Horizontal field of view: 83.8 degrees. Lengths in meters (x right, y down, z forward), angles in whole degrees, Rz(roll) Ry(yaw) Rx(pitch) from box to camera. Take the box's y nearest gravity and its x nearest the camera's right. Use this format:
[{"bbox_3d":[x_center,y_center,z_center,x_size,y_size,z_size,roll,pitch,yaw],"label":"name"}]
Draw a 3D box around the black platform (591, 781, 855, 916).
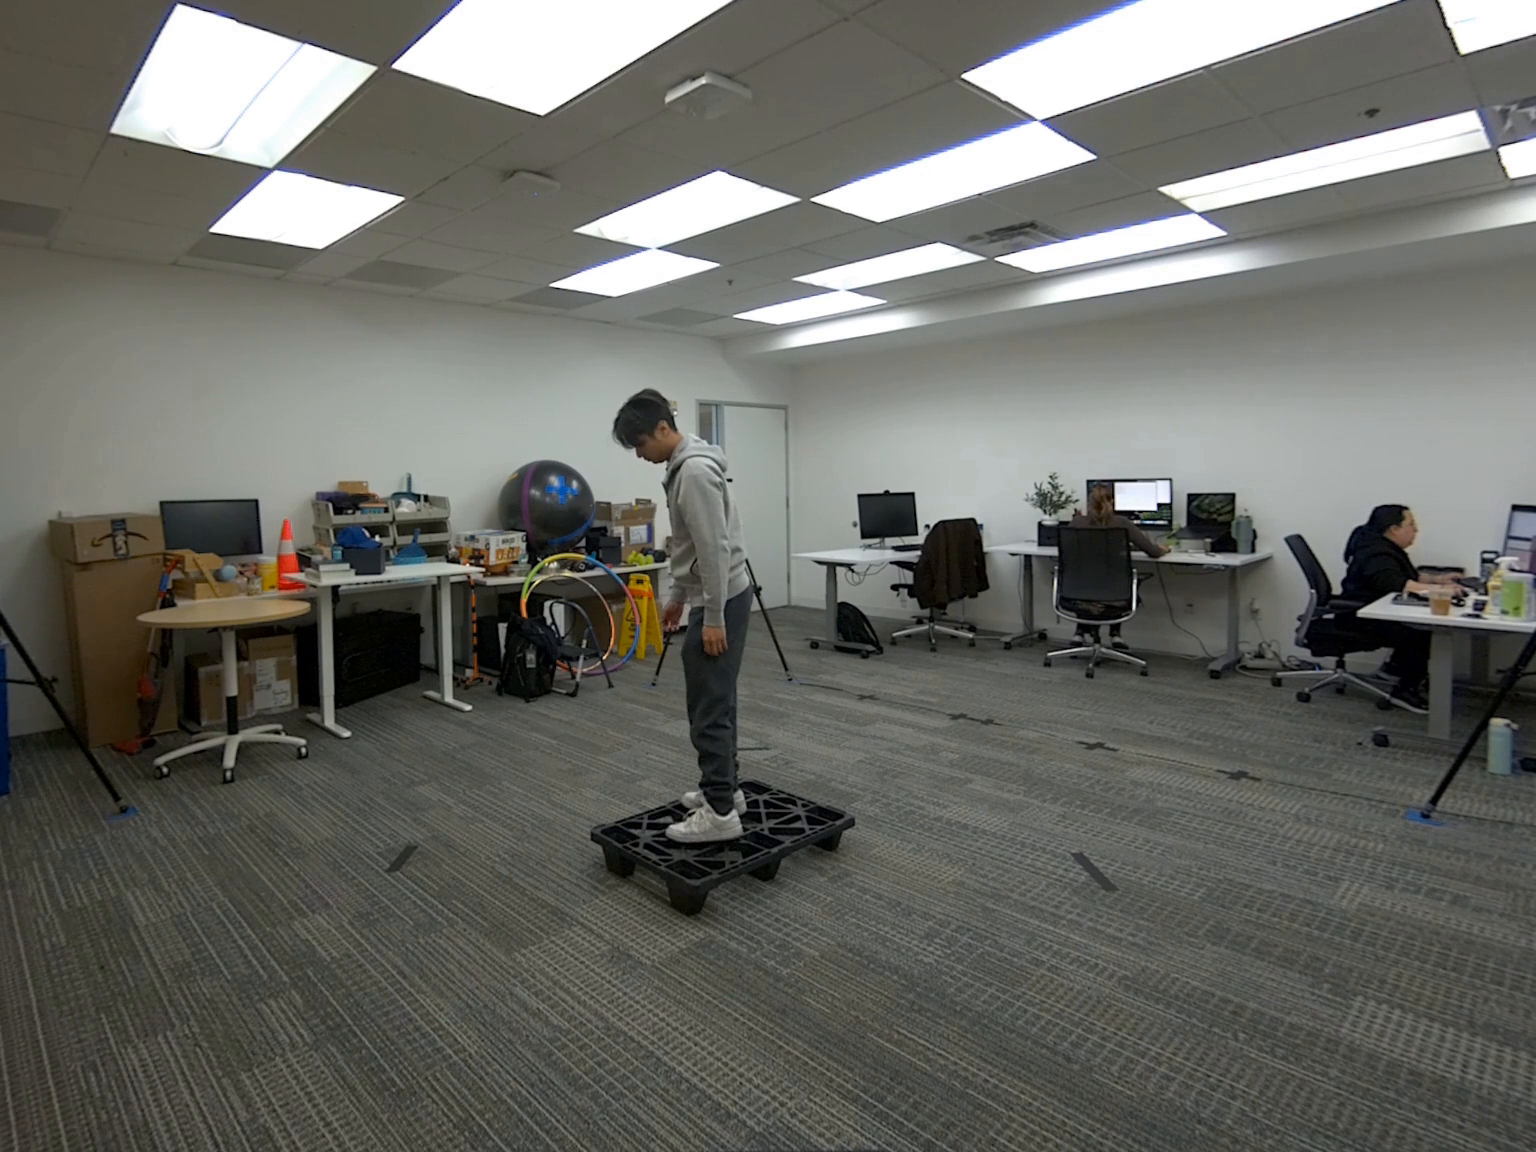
[{"bbox_3d":[-0.152,0.973,3.148,0.784,0.142,0.624,-7,9,-43],"label":"black platform"}]
